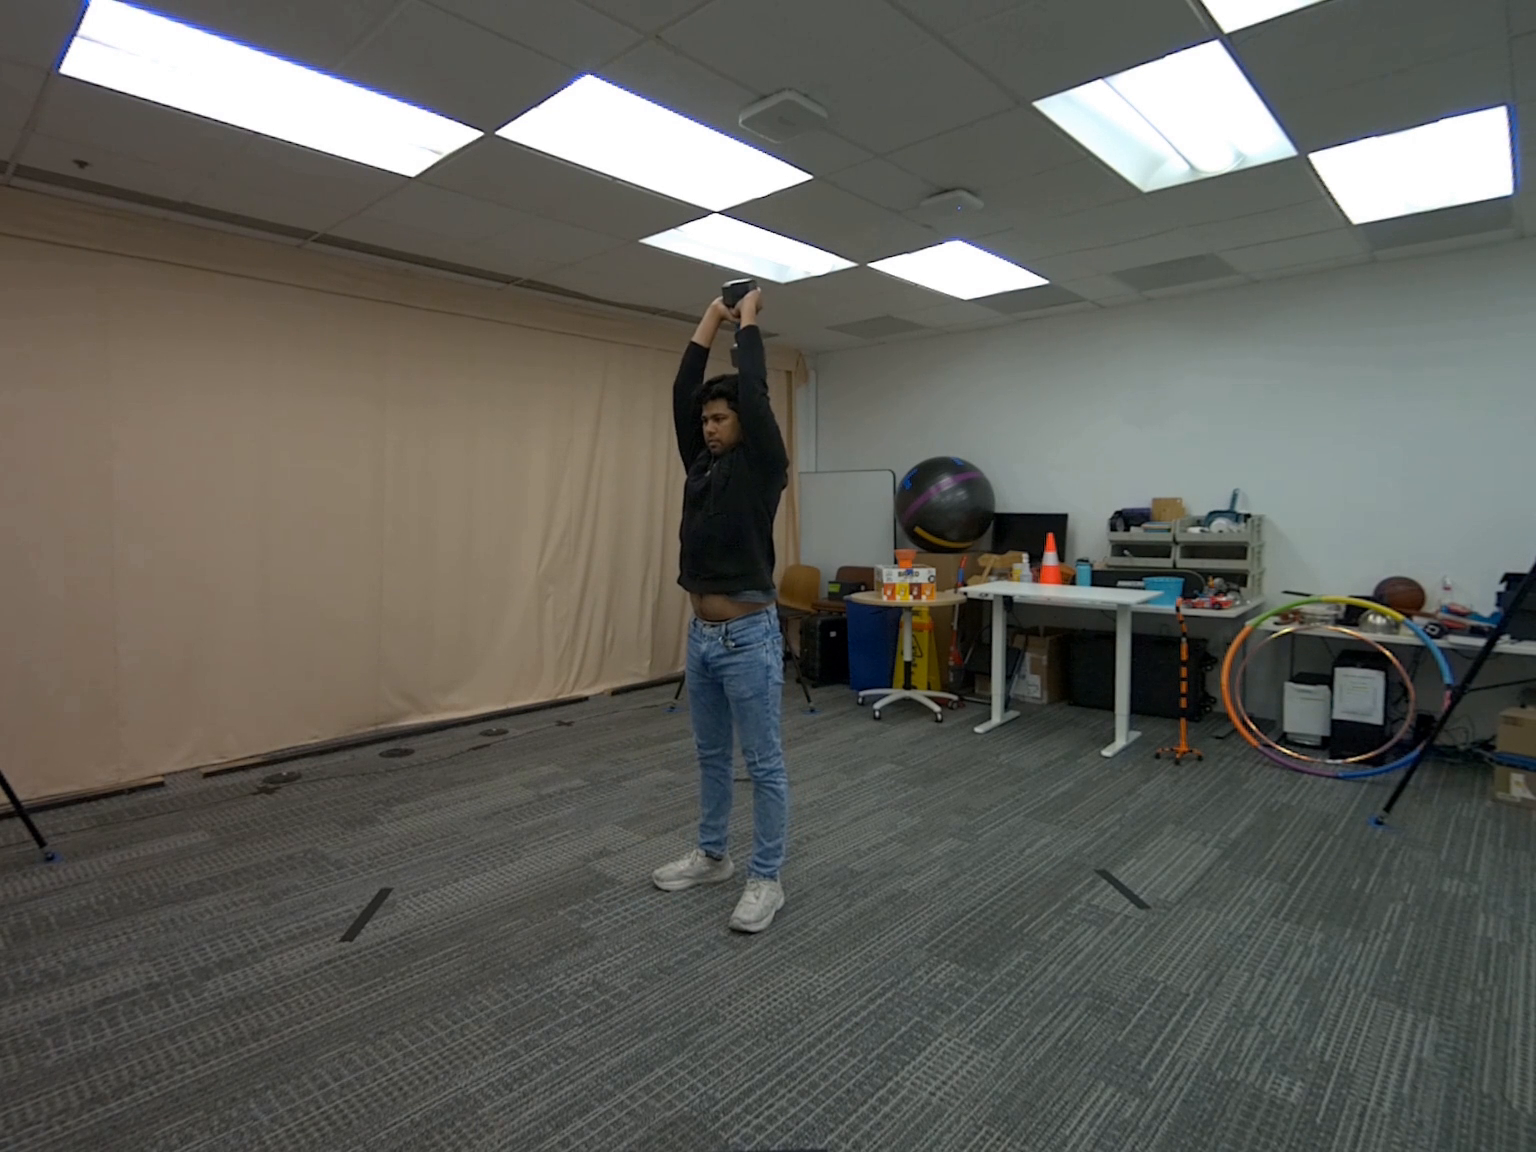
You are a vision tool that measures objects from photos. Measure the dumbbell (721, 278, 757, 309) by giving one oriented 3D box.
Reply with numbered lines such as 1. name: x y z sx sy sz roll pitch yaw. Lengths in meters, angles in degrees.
1. dumbbell: -0.084 -0.873 2.927 0.106 0.289 0.127 -21 25 -31
